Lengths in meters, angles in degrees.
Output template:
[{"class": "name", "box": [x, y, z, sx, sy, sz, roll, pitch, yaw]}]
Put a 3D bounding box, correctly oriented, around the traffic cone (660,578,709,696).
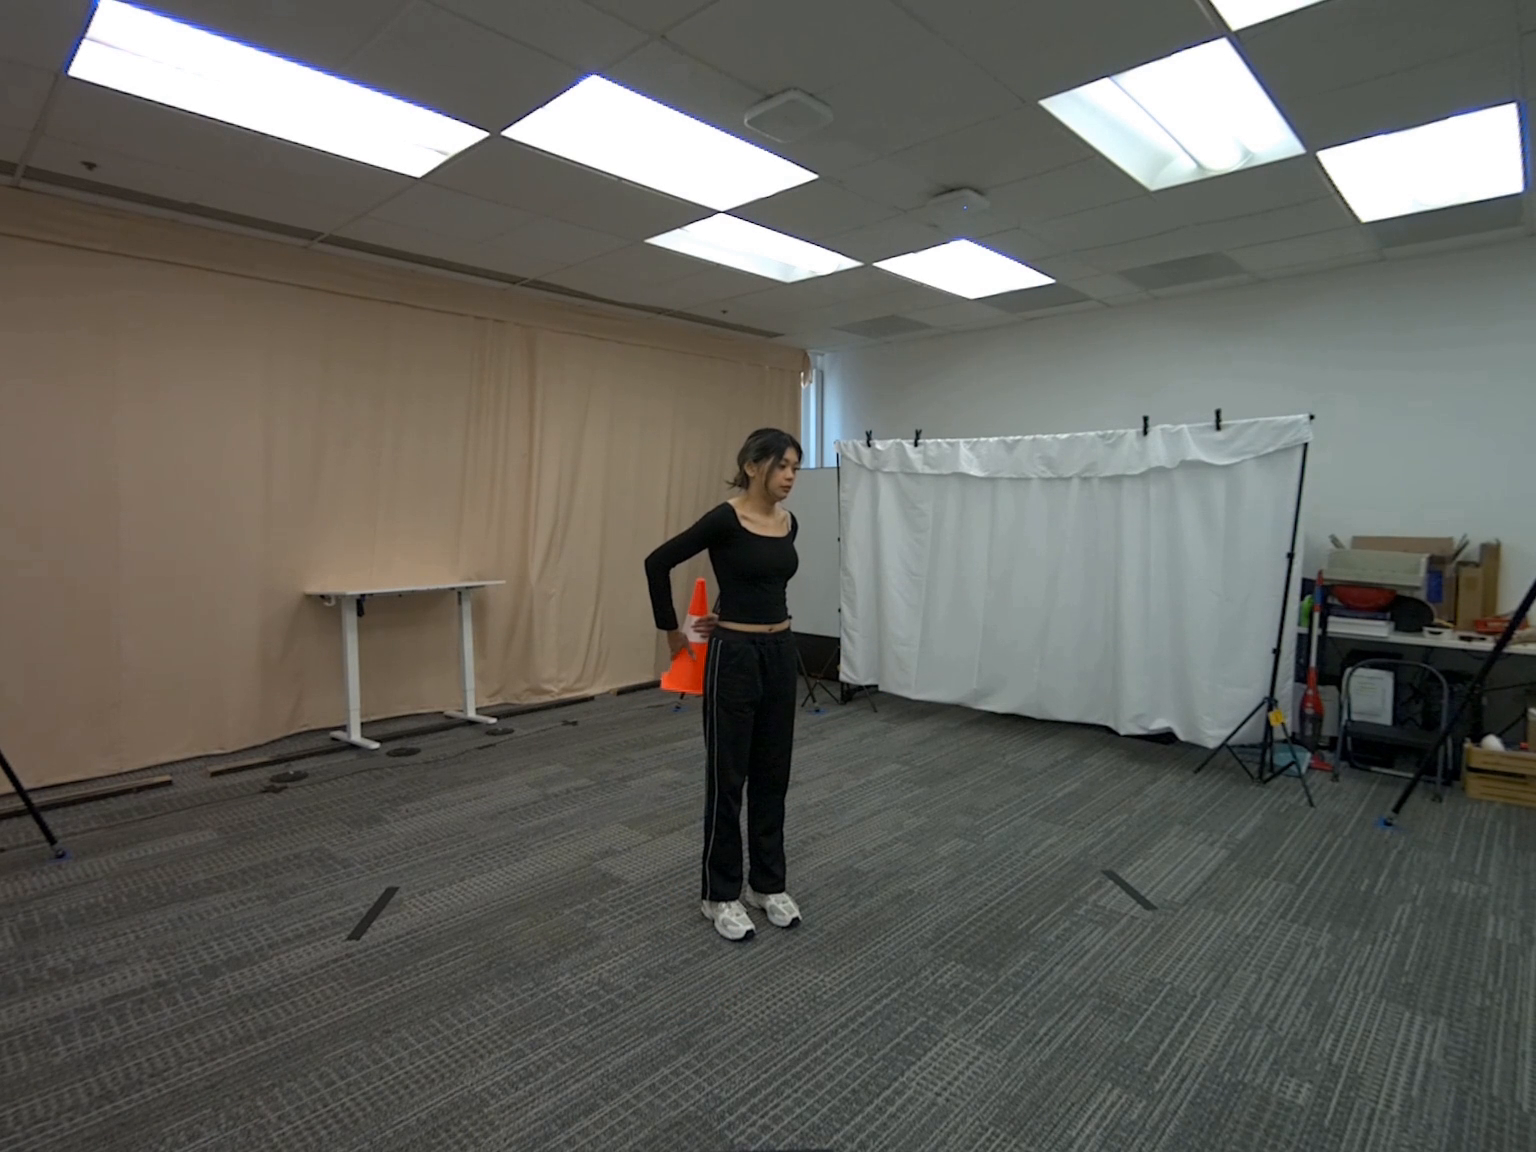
[{"class": "traffic cone", "box": [-0.254, 0.197, 2.969, 0.204, 0.382, 0.205, 8, 7, -6]}]
